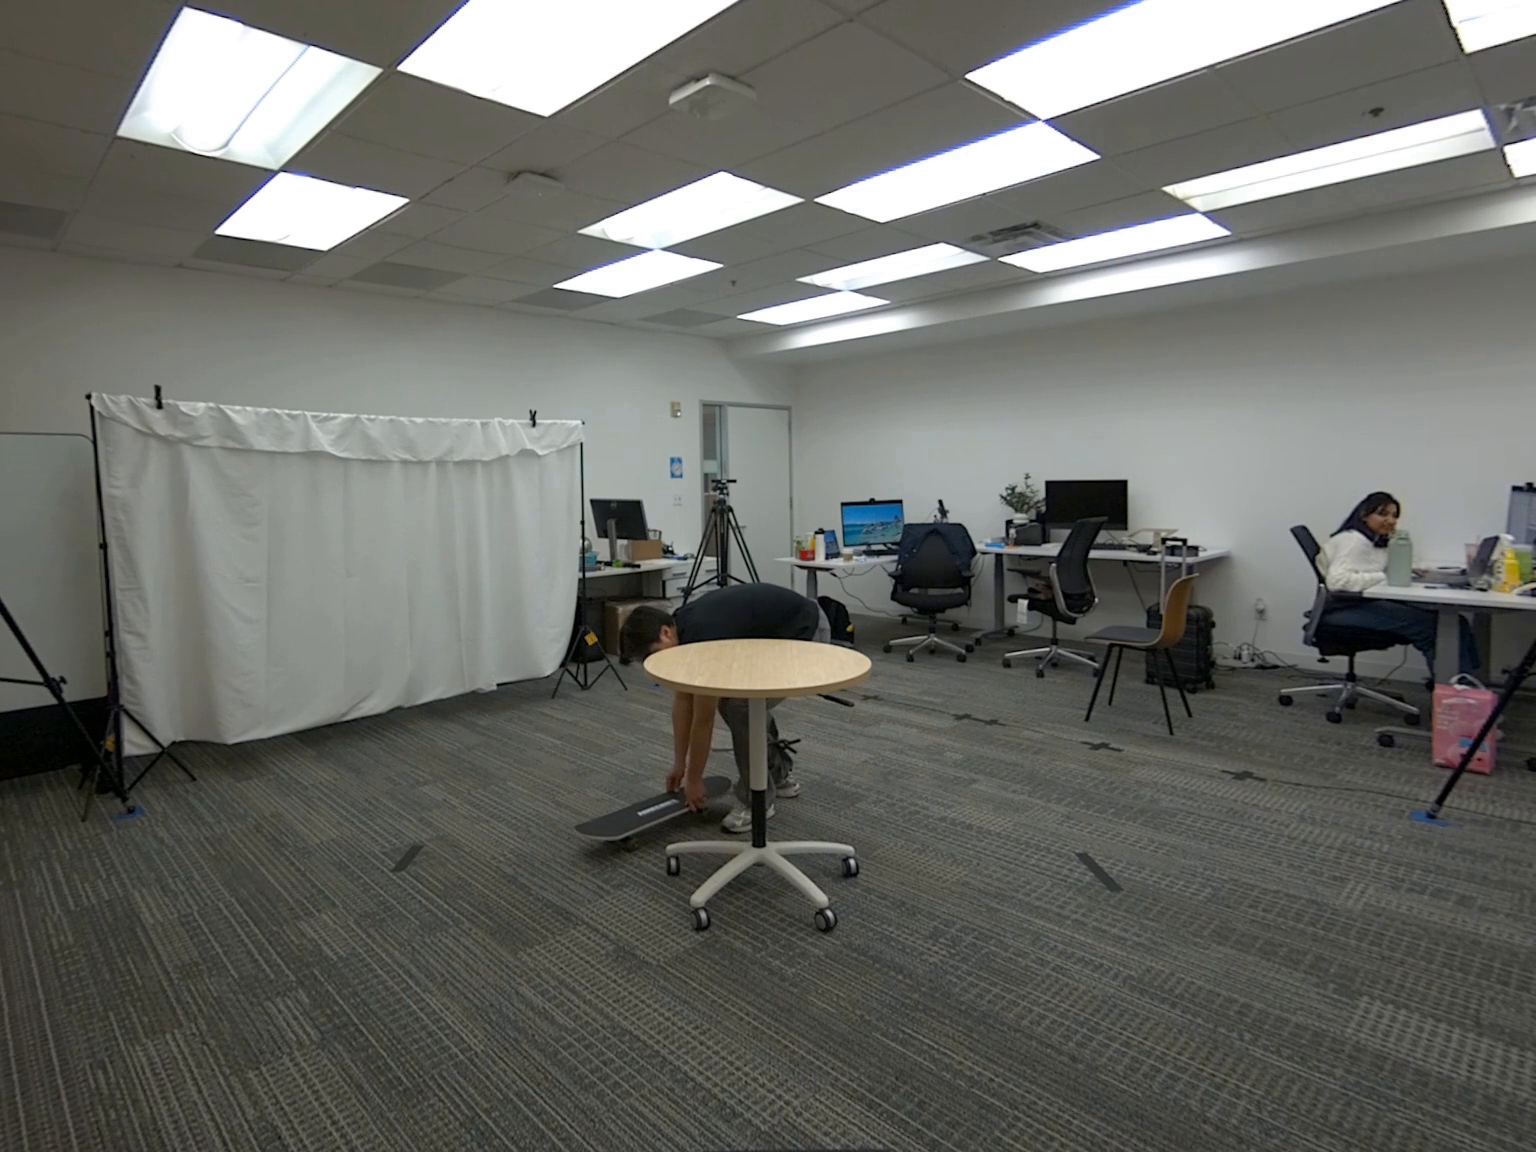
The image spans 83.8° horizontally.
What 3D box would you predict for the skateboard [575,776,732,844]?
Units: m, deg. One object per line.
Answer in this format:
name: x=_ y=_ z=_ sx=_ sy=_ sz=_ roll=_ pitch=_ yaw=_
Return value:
skateboard: x=-0.444 y=0.962 z=3.438 sx=0.199 sy=0.110 sz=0.765 roll=5 pitch=9 yaw=42
